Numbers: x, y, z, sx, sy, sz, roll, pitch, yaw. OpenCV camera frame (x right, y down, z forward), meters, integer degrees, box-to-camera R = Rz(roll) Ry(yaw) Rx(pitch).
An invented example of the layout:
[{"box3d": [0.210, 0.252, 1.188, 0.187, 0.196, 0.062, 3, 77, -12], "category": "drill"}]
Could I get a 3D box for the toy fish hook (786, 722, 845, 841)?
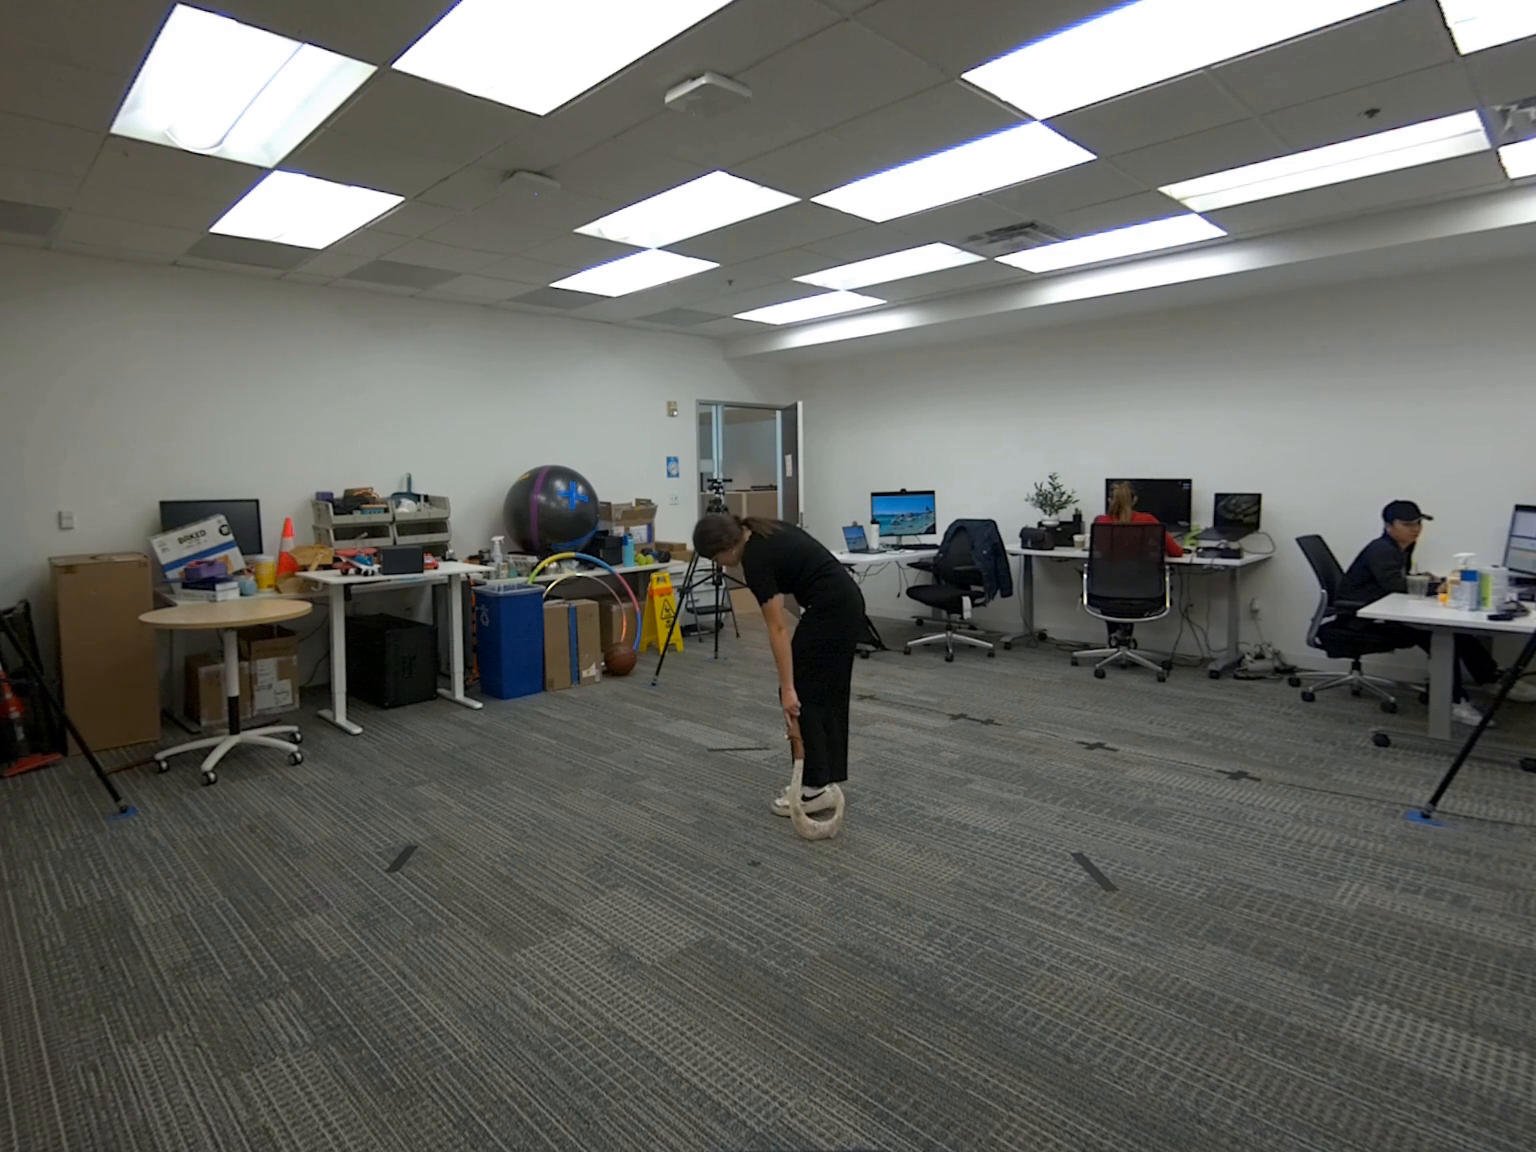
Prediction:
[{"box3d": [0.177, 0.787, 3.395, 0.221, 0.517, 0.048, -2, -21, -14], "category": "toy fish hook"}]
